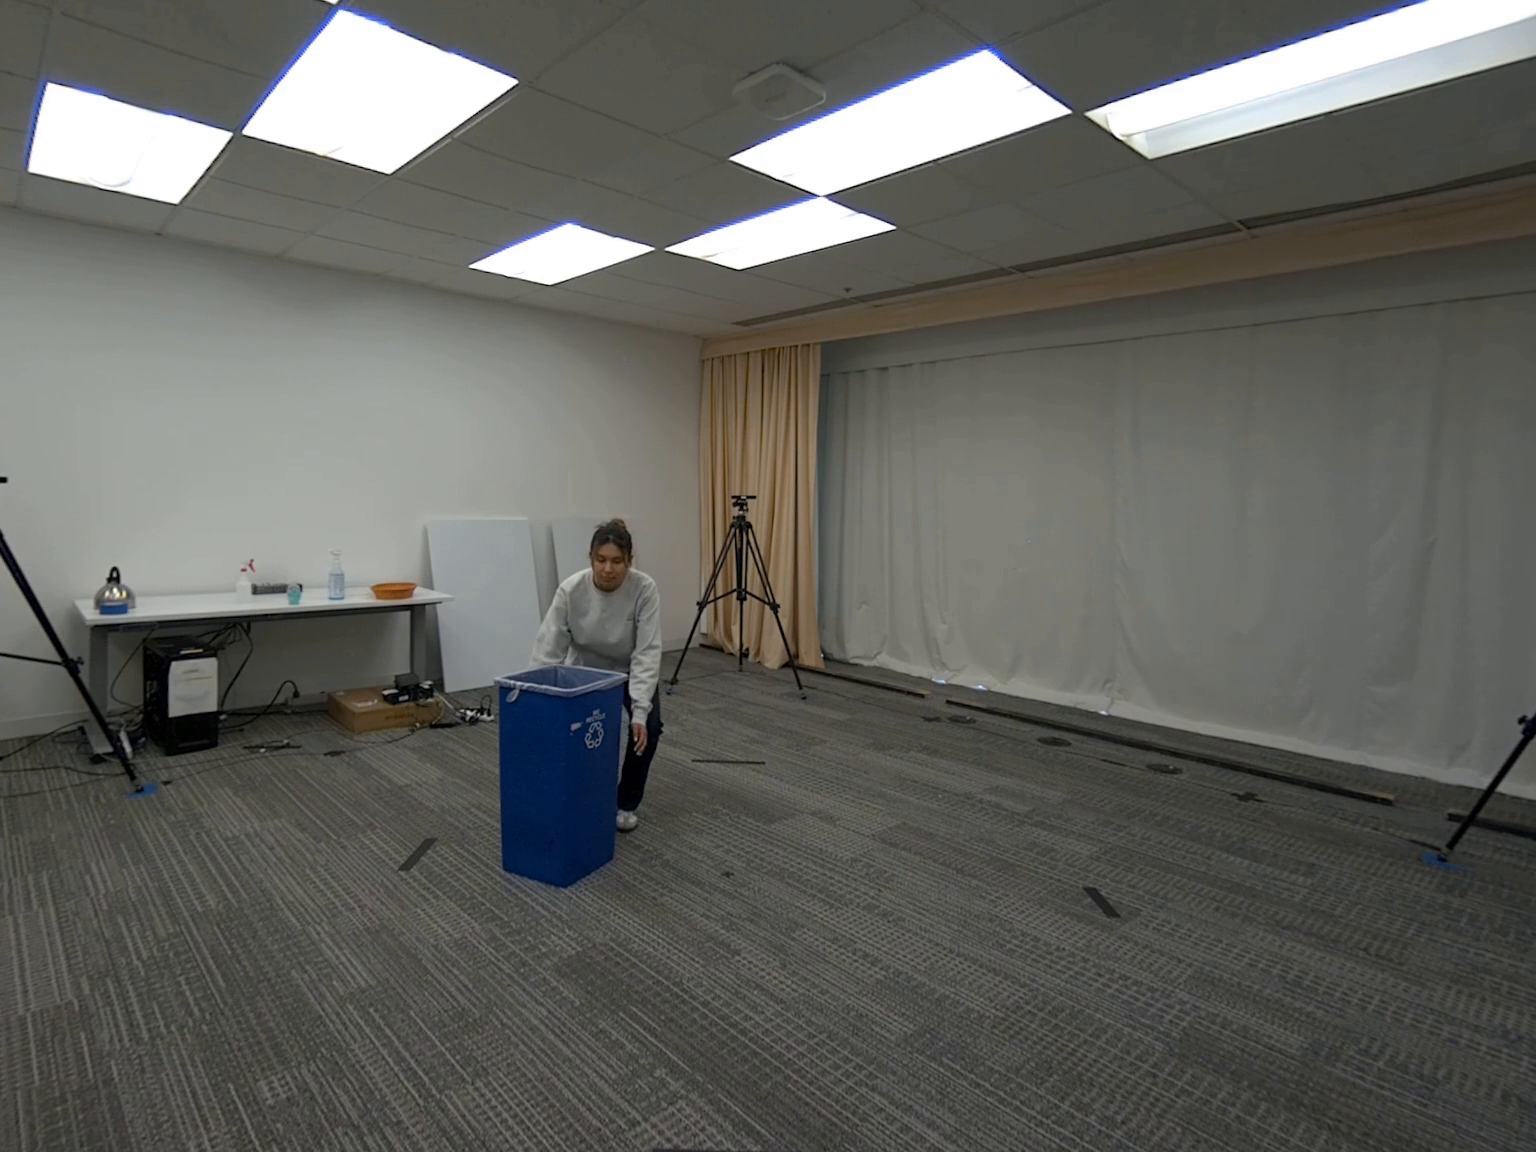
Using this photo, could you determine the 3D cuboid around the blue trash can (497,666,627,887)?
[{"bbox_3d":[-0.784,0.728,3.150,0.386,0.712,0.367,4,4,27],"label":"blue trash can"}]
